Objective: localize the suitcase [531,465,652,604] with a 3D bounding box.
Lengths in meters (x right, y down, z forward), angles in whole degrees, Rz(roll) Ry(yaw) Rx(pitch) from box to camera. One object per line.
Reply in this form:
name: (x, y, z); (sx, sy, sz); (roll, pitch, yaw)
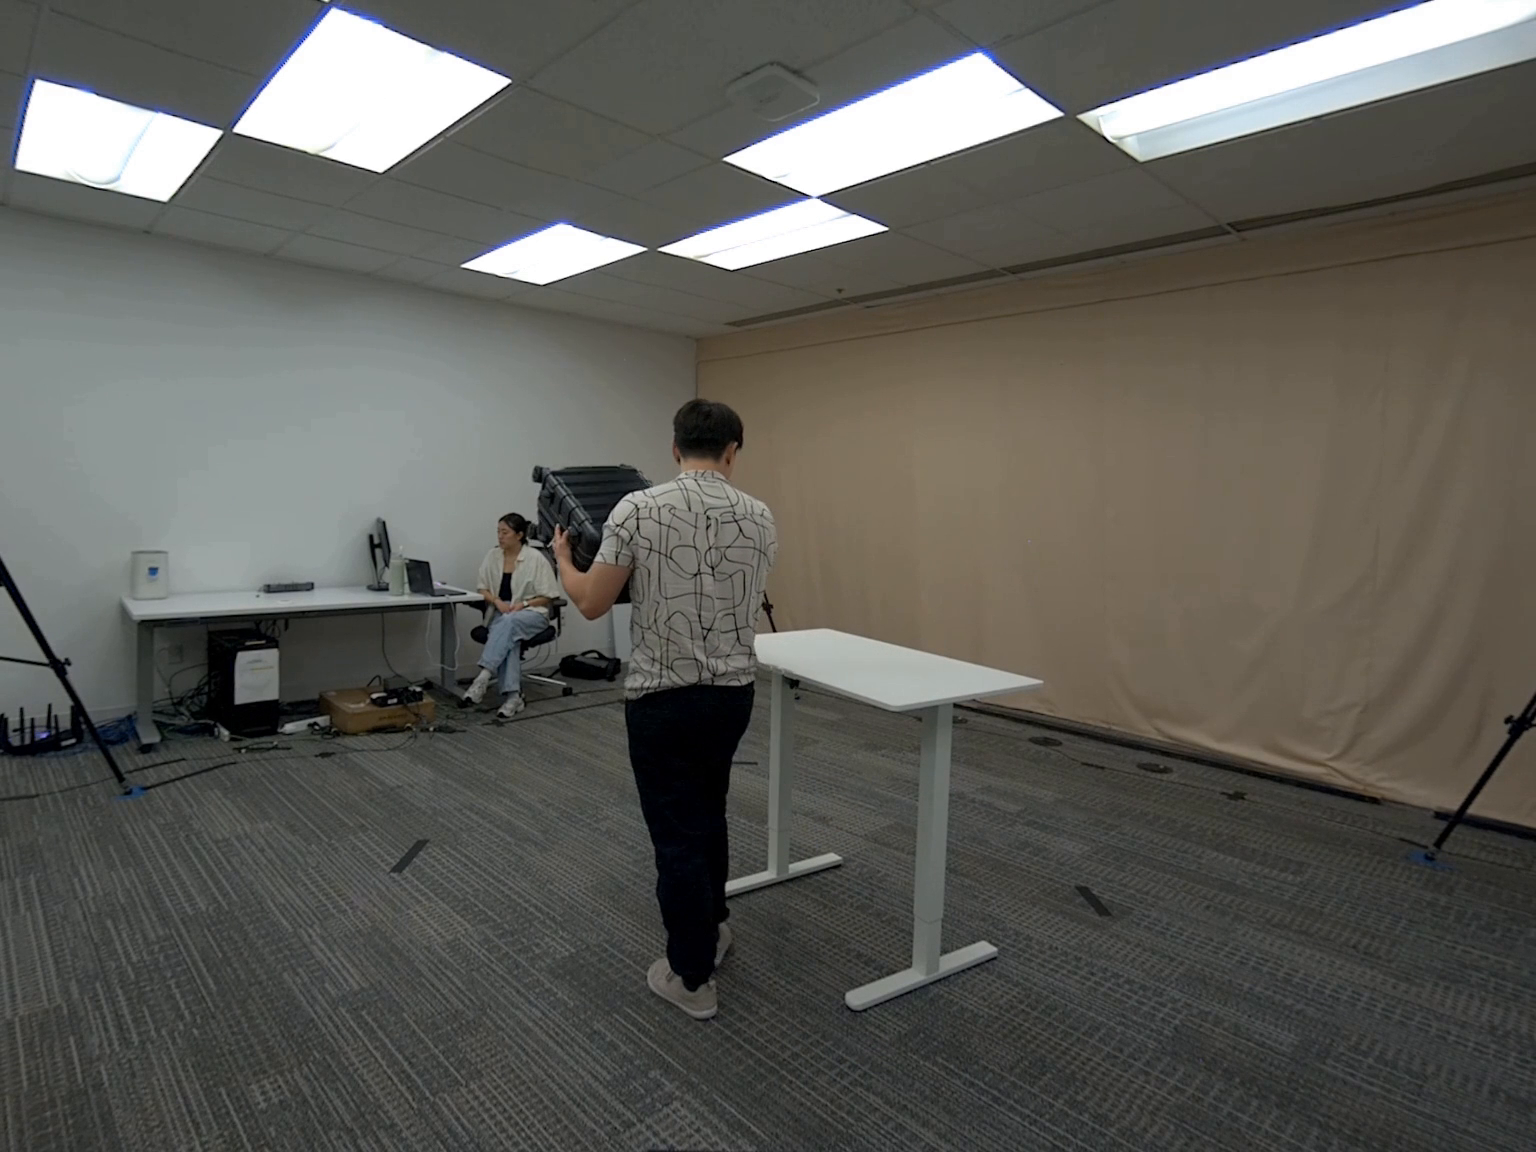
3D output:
suitcase: (-0.496, -0.144, 2.595); (0.368, 0.245, 0.567); (-6, 29, -32)
